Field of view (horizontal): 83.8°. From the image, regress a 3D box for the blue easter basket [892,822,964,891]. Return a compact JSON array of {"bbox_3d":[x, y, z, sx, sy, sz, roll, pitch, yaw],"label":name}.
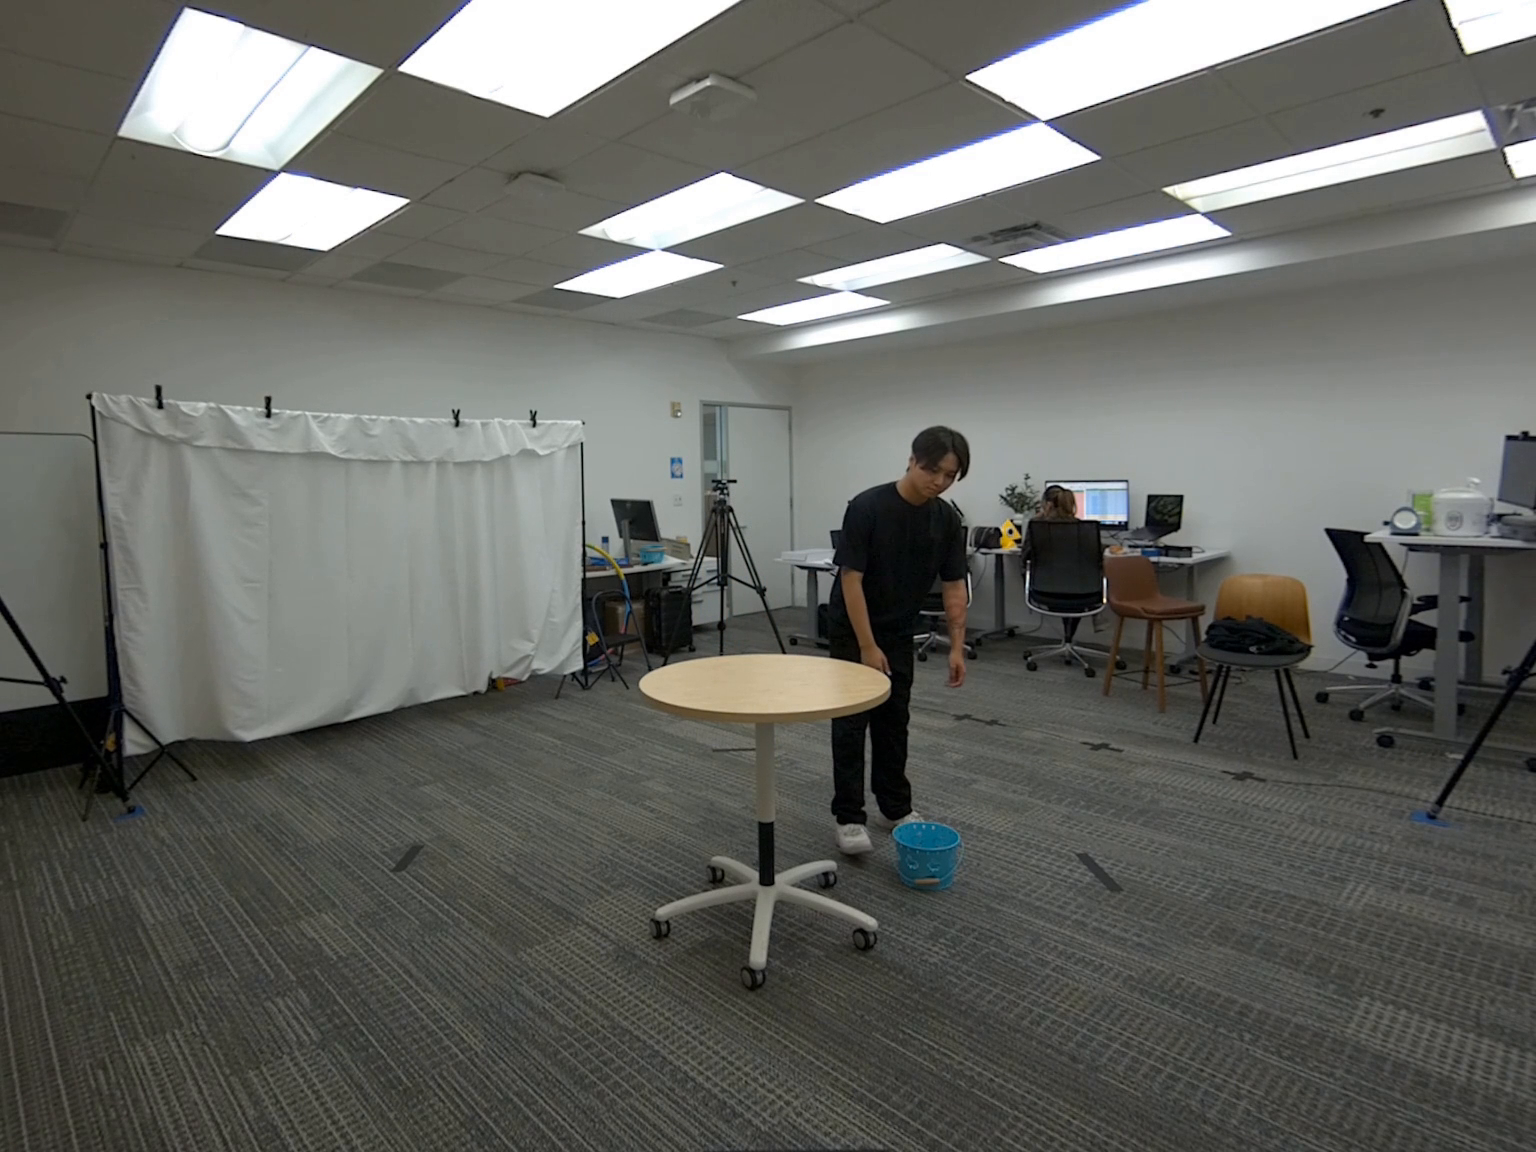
[{"bbox_3d":[0.547,0.972,2.972,0.243,0.155,0.245,-3,6,-1],"label":"blue easter basket"}]
